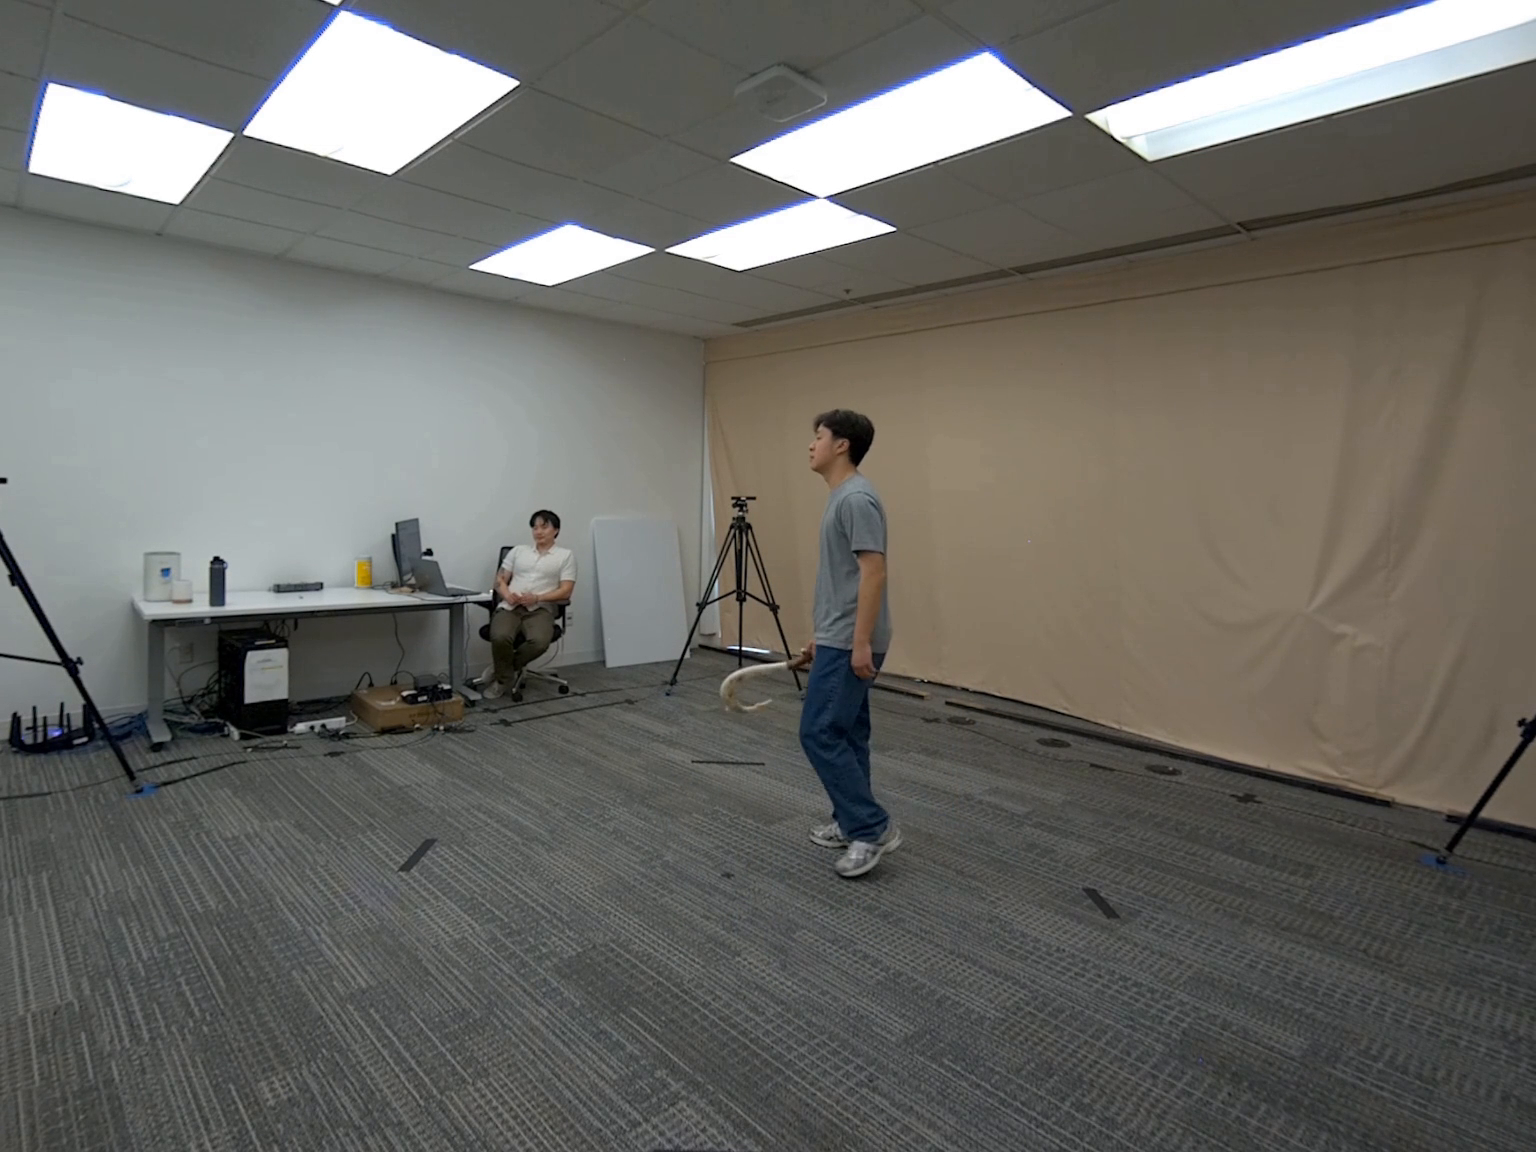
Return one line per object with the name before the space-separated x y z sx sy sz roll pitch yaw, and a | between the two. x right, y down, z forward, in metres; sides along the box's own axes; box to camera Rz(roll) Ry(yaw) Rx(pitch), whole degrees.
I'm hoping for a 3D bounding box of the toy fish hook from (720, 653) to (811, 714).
toy fish hook | 0.053 0.451 3.542 0.506 0.219 0.049 -21 27 0
